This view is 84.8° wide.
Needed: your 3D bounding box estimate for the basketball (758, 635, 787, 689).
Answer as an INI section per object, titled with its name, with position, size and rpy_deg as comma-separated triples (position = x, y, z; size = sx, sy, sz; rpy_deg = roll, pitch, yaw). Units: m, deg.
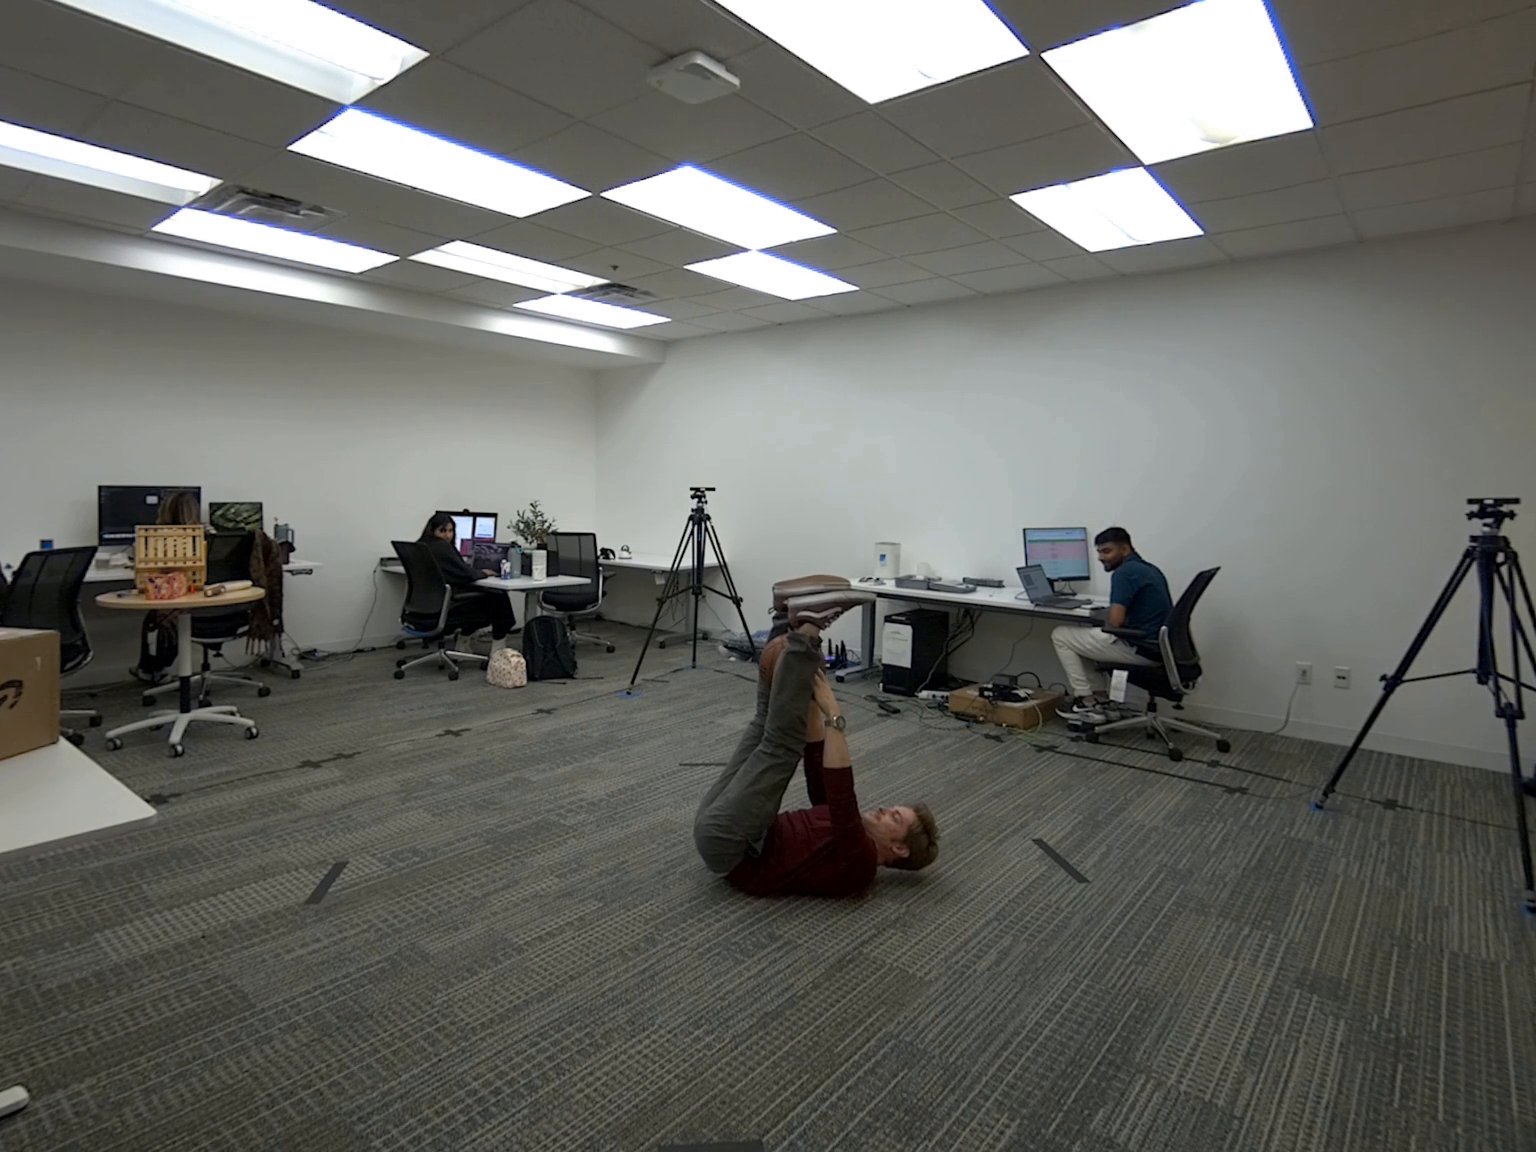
[basketball]
position = 0.074, 0.315, 3.002
size = 0.235, 0.235, 0.237
rpy_deg = 1, 4, -2
